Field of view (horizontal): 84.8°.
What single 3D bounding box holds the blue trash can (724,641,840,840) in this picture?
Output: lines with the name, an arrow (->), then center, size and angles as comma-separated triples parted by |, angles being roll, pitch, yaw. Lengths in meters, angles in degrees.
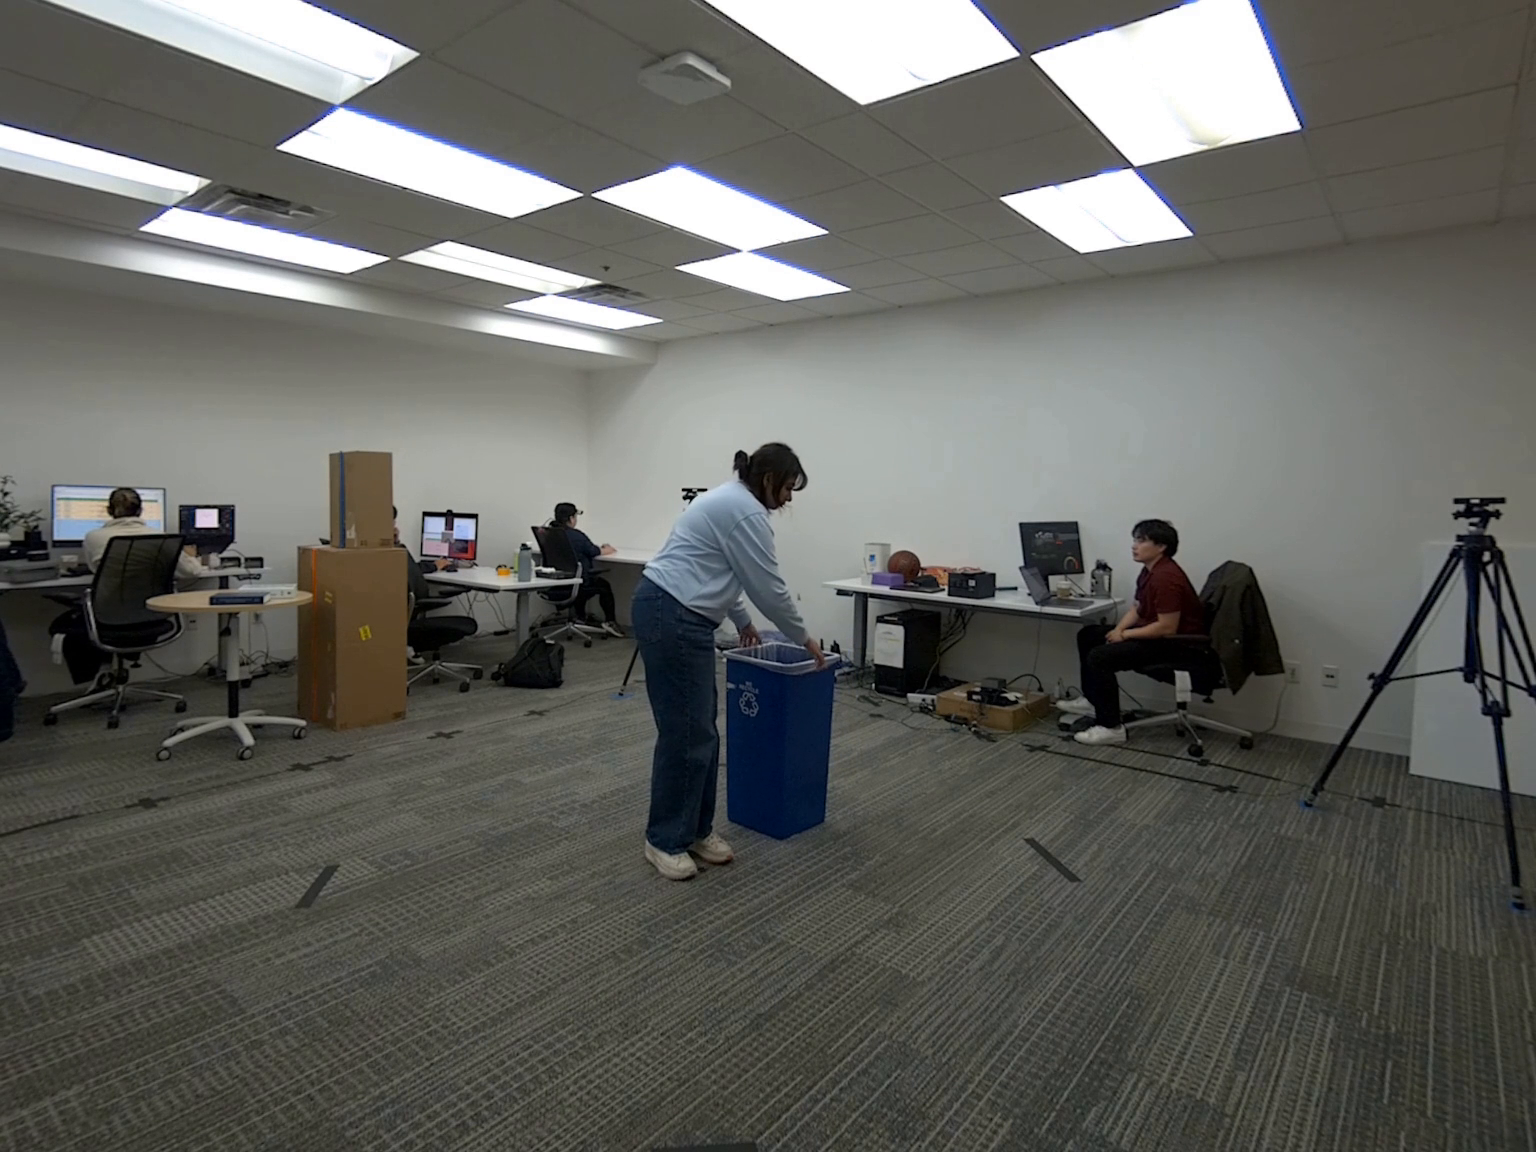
blue trash can -> 0.044, 0.673, 3.565 | 0.387, 0.711, 0.367 | 4, 5, 42
